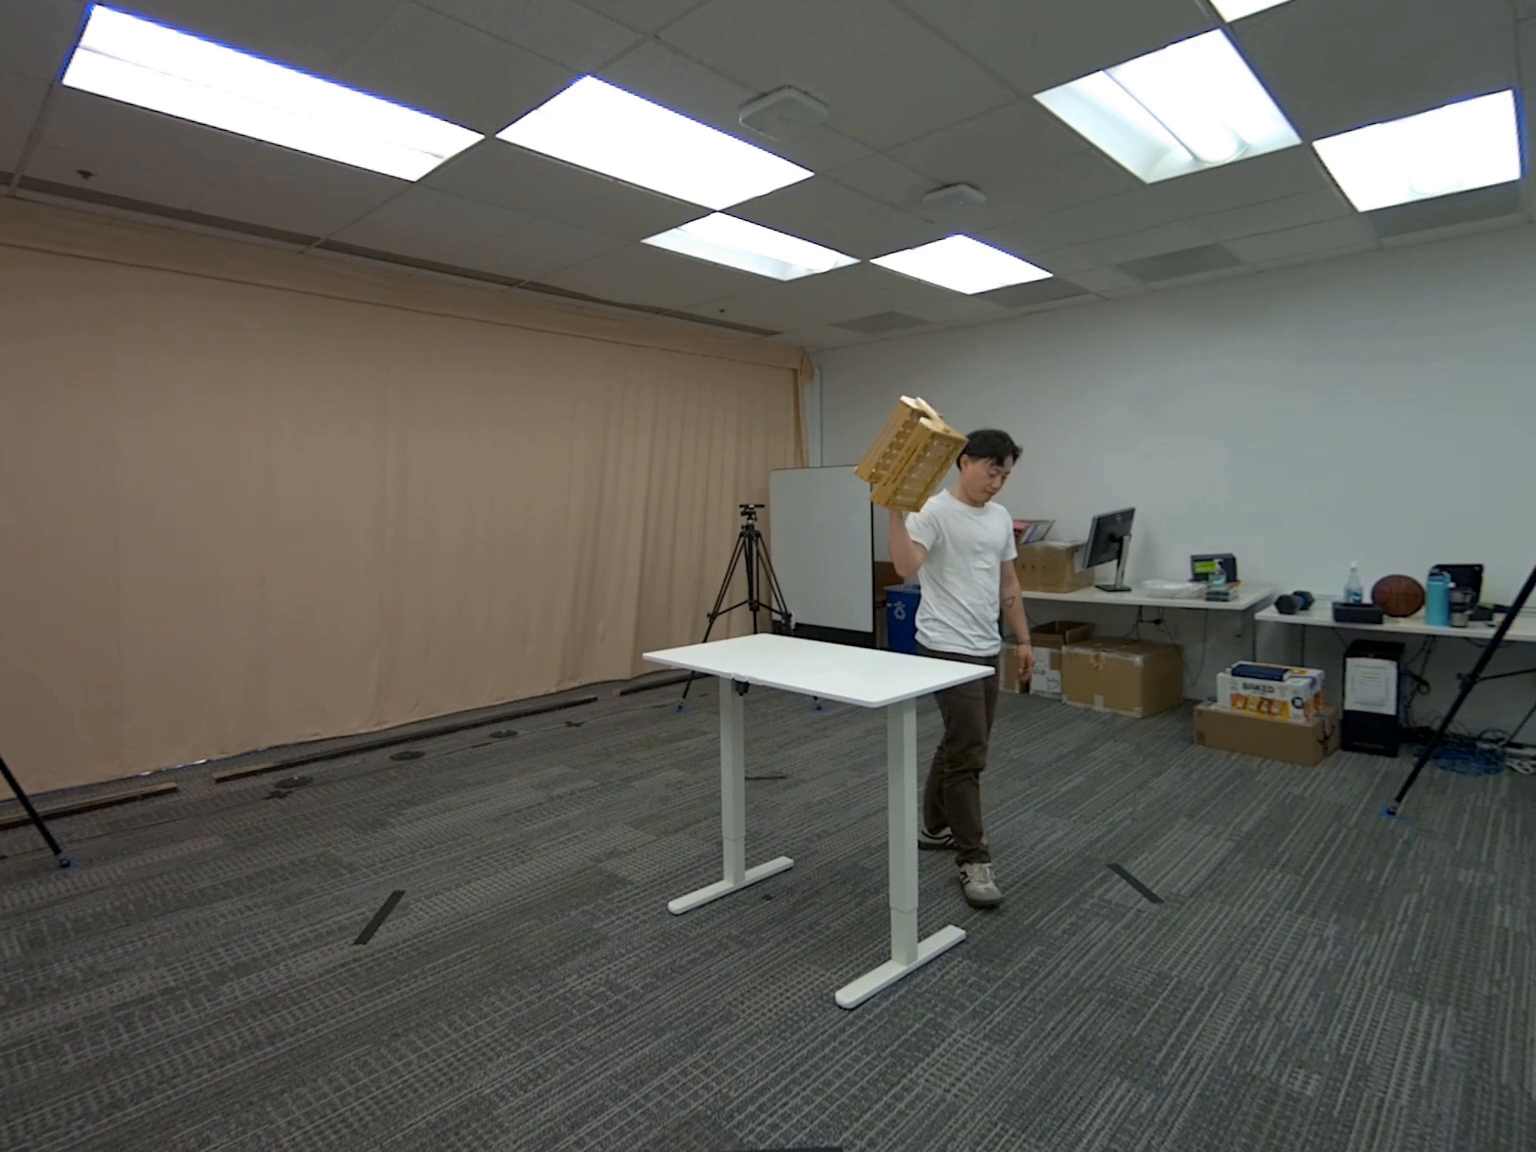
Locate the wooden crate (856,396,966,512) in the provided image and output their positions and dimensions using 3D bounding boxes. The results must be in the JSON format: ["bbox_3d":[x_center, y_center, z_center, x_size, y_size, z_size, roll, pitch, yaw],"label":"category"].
[{"bbox_3d":[0.456,-0.423,2.864,0.292,0.324,0.282,4,36,-46],"label":"wooden crate"}]
